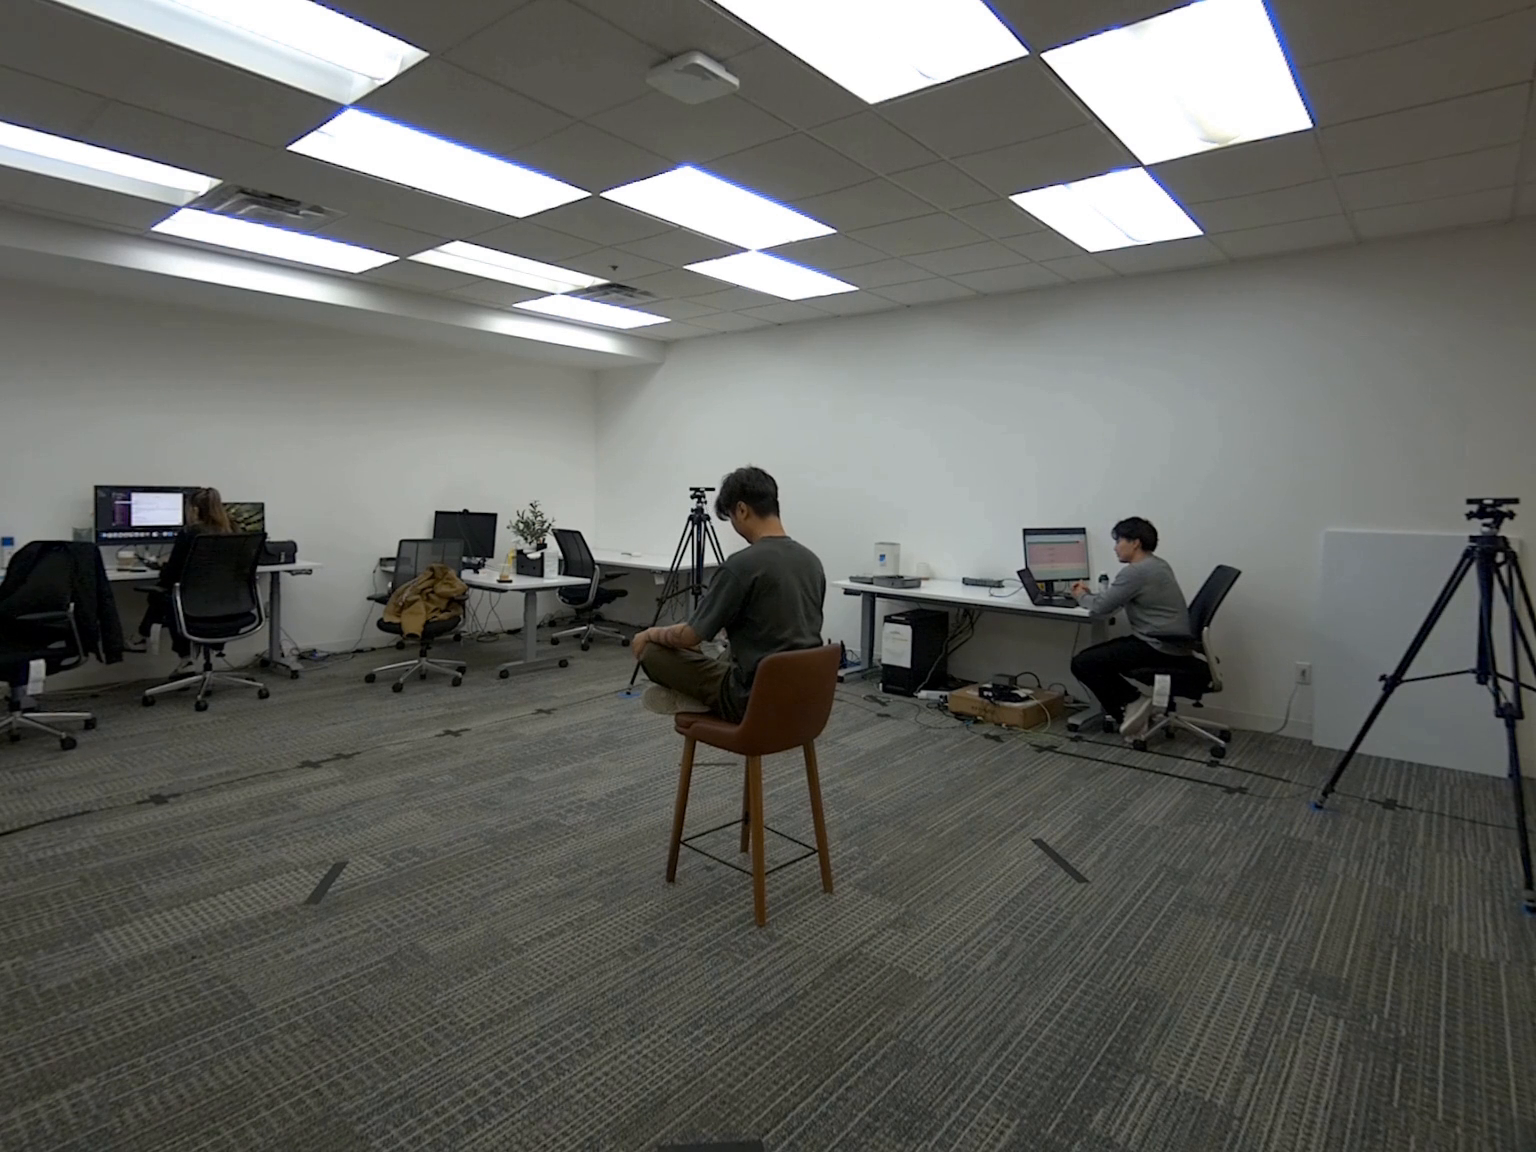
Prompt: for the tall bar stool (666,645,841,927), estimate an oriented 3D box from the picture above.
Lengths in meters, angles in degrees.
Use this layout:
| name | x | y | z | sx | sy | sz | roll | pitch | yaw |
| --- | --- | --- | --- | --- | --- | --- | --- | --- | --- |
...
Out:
| name | x | y | z | sx | sy | sz | roll | pitch | yaw |
| --- | --- | --- | --- | --- | --- | --- | --- | --- | --- |
| tall bar stool | -0.051 | 0.648 | 2.953 | 0.484 | 0.886 | 0.442 | 8 | 6 | 44 |
